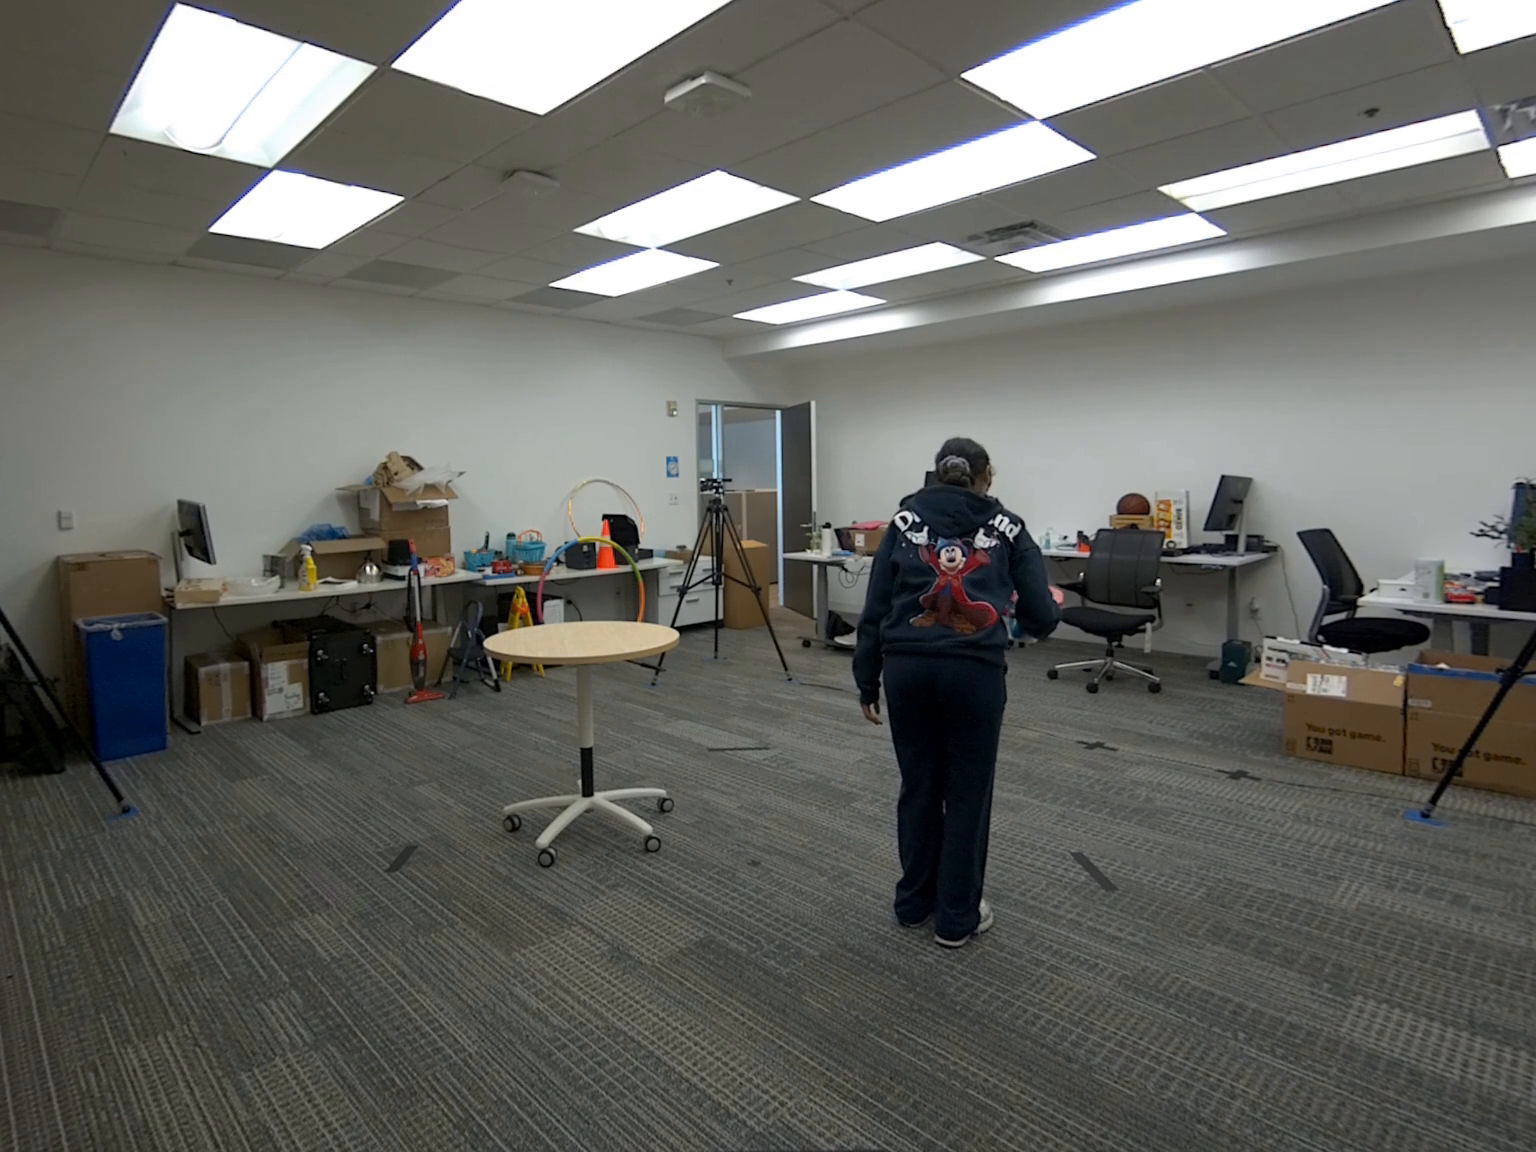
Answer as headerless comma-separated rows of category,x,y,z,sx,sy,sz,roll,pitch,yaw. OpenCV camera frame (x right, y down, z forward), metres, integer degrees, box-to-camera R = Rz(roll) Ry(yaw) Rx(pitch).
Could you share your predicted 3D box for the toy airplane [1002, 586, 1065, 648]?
toy airplane,0.866,0.124,2.851,0.249,0.152,0.267,-6,33,-7
